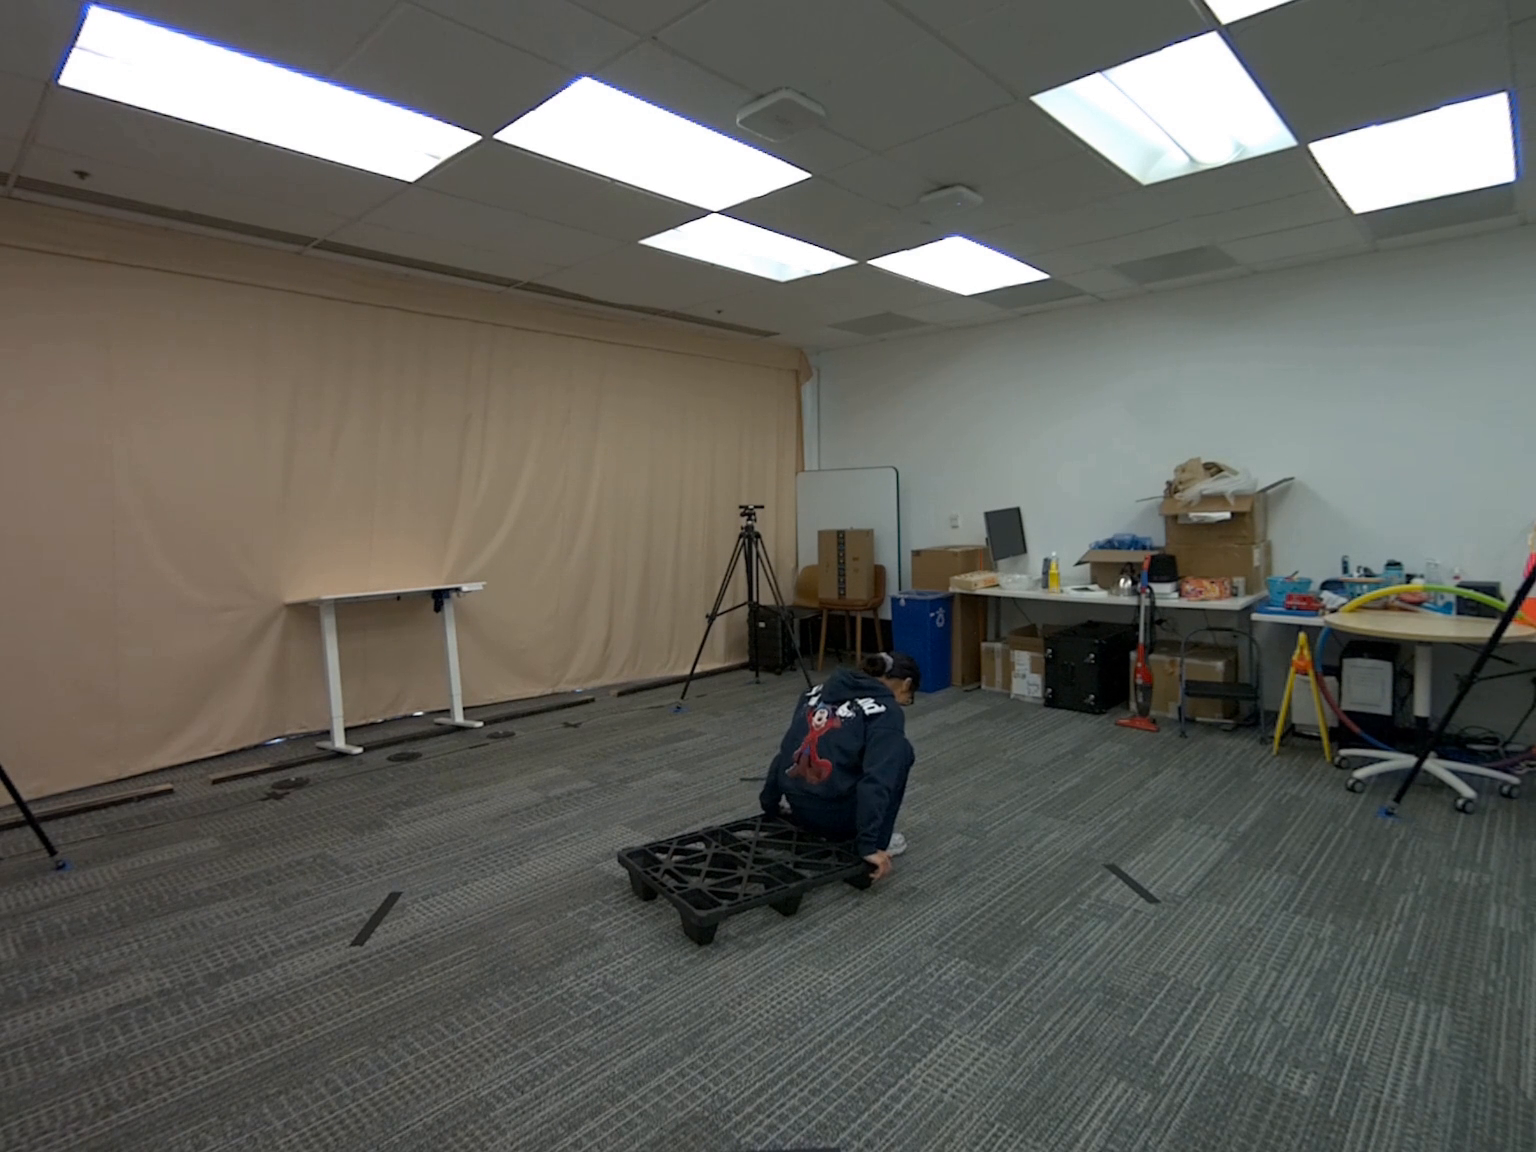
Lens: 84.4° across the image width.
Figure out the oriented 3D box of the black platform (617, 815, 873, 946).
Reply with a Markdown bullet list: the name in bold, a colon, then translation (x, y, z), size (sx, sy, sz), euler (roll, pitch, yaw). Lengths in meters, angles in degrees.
- **black platform**: translation (-0.064, 1.070, 3.047), size (0.783, 0.143, 0.624), euler (-4, 5, -34)
